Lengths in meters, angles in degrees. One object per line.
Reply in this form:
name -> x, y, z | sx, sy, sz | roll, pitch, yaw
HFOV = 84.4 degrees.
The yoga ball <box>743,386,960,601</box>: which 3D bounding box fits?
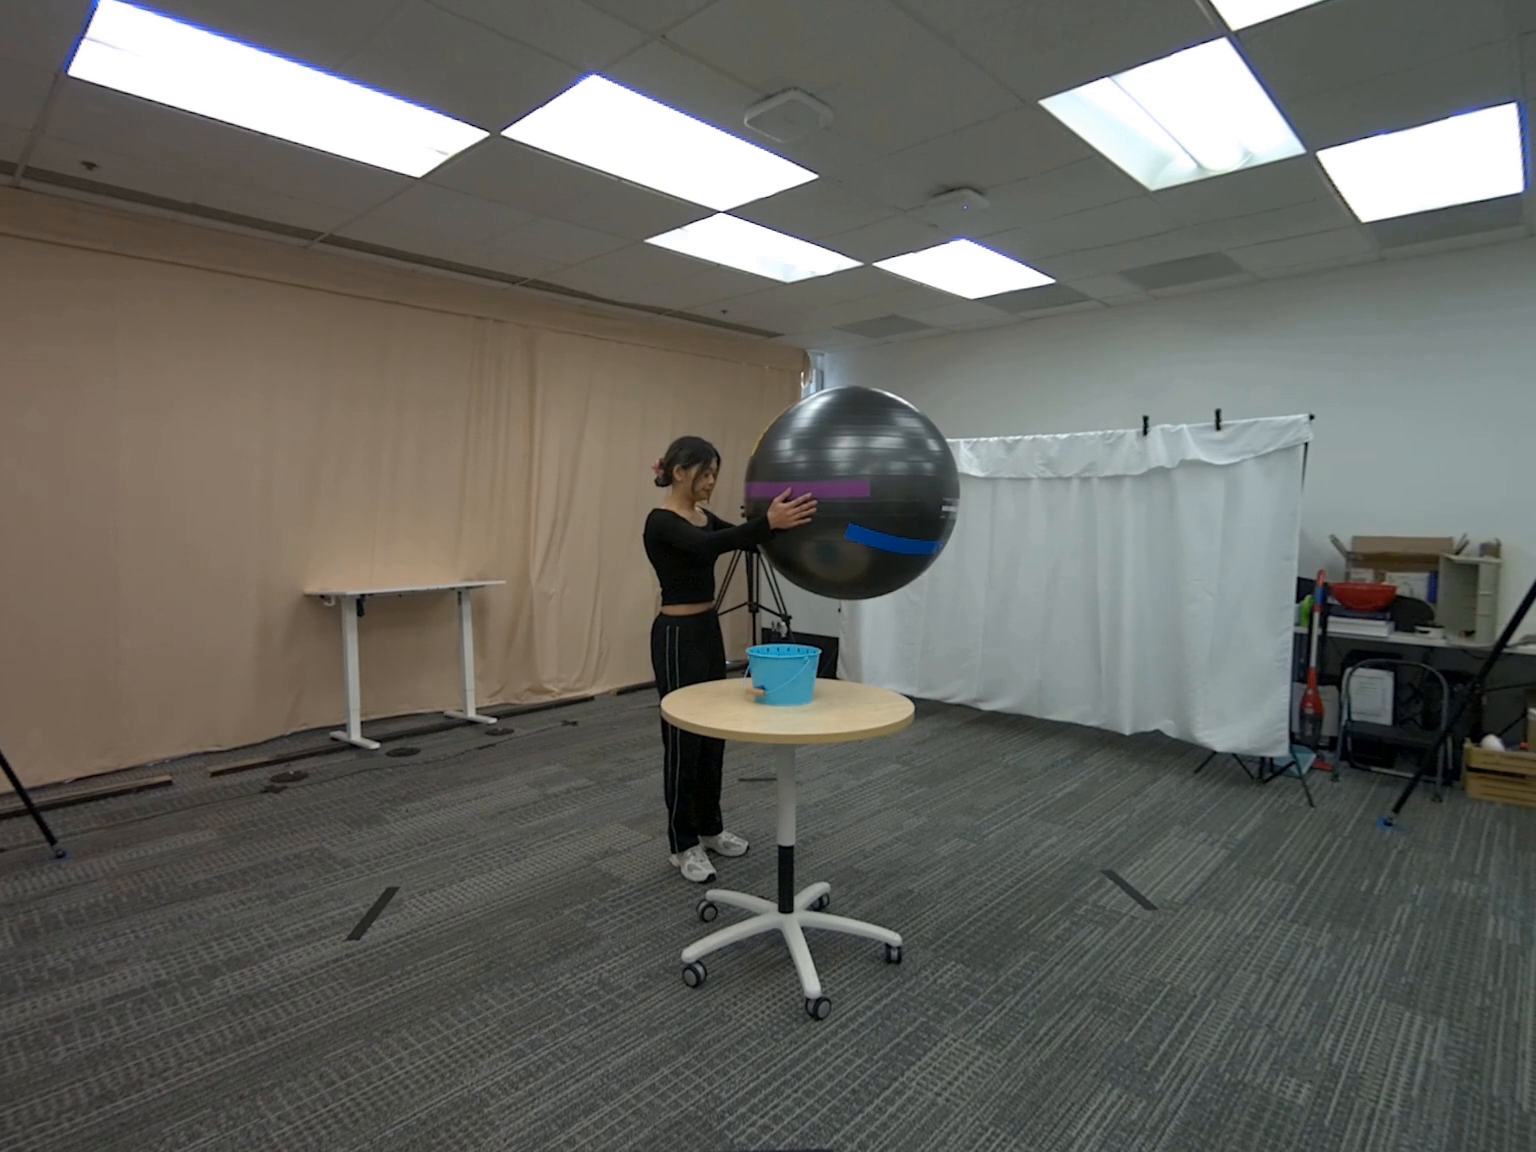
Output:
yoga ball -> 0.304, -0.290, 3.007 | 0.757, 0.756, 0.760 | 0, 4, -2
